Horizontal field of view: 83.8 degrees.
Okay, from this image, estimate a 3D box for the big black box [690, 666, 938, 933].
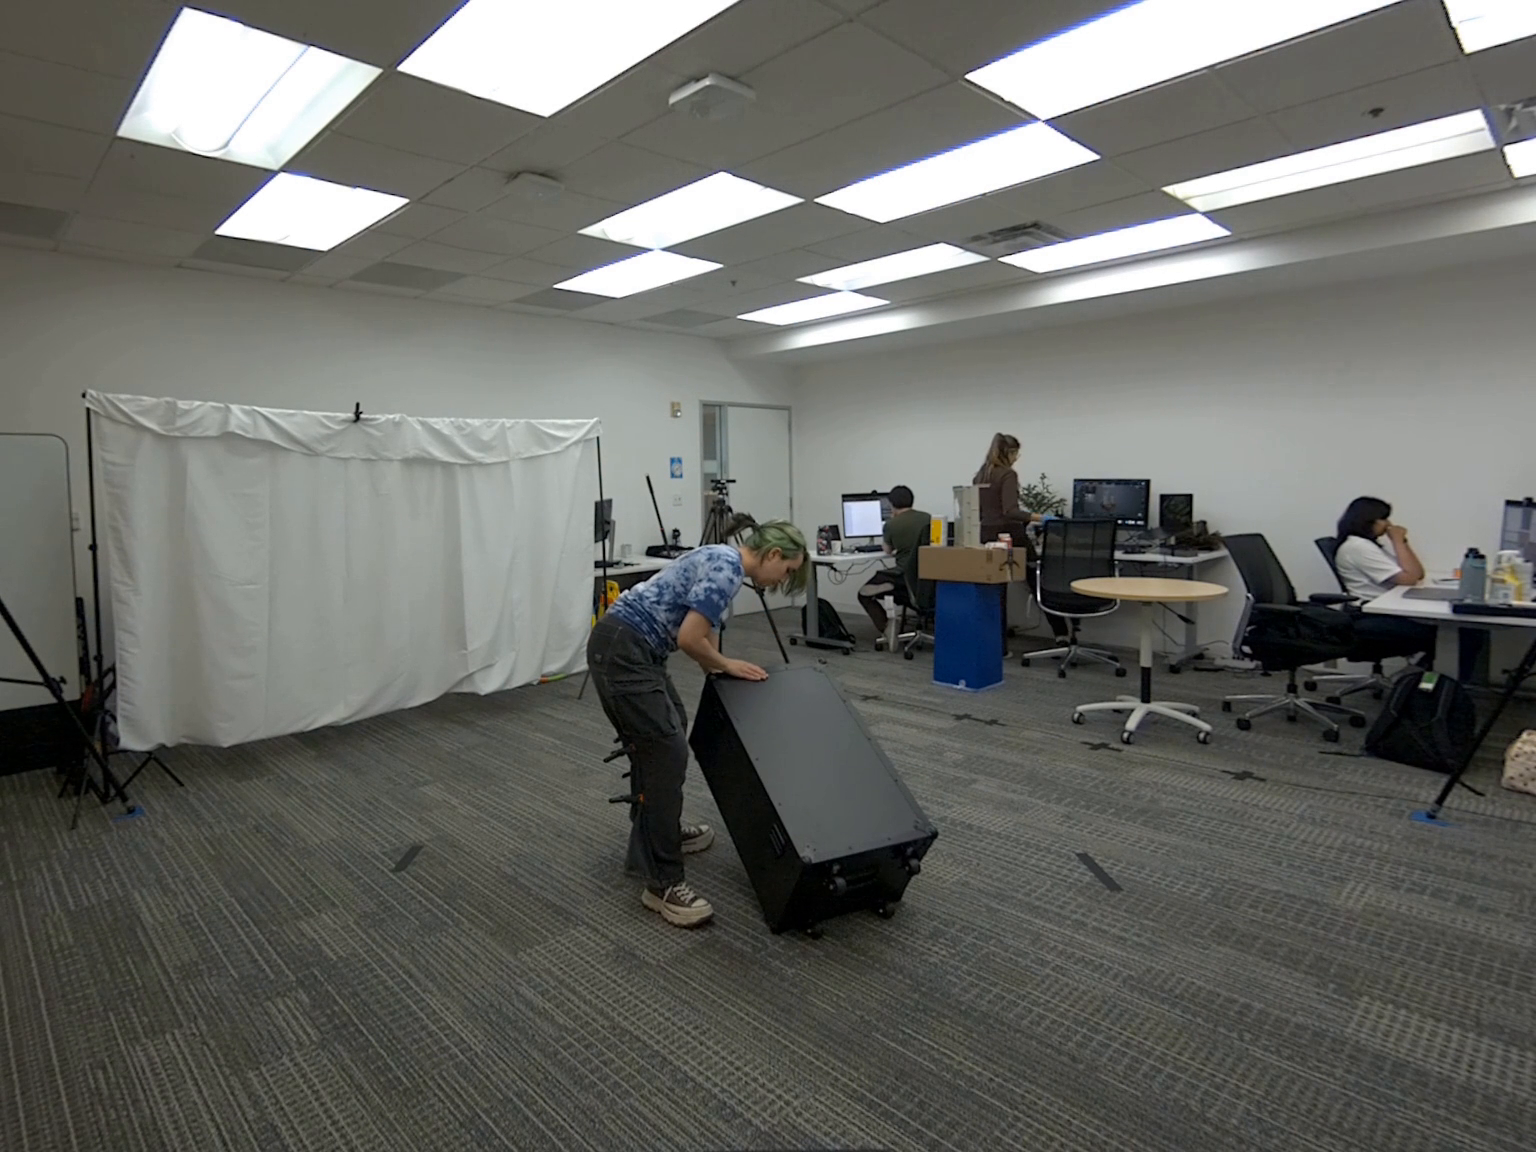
[{"bbox_3d":[0.125,0.732,2.893,0.510,0.389,0.895,-4,37,-26],"label":"big black box"}]
